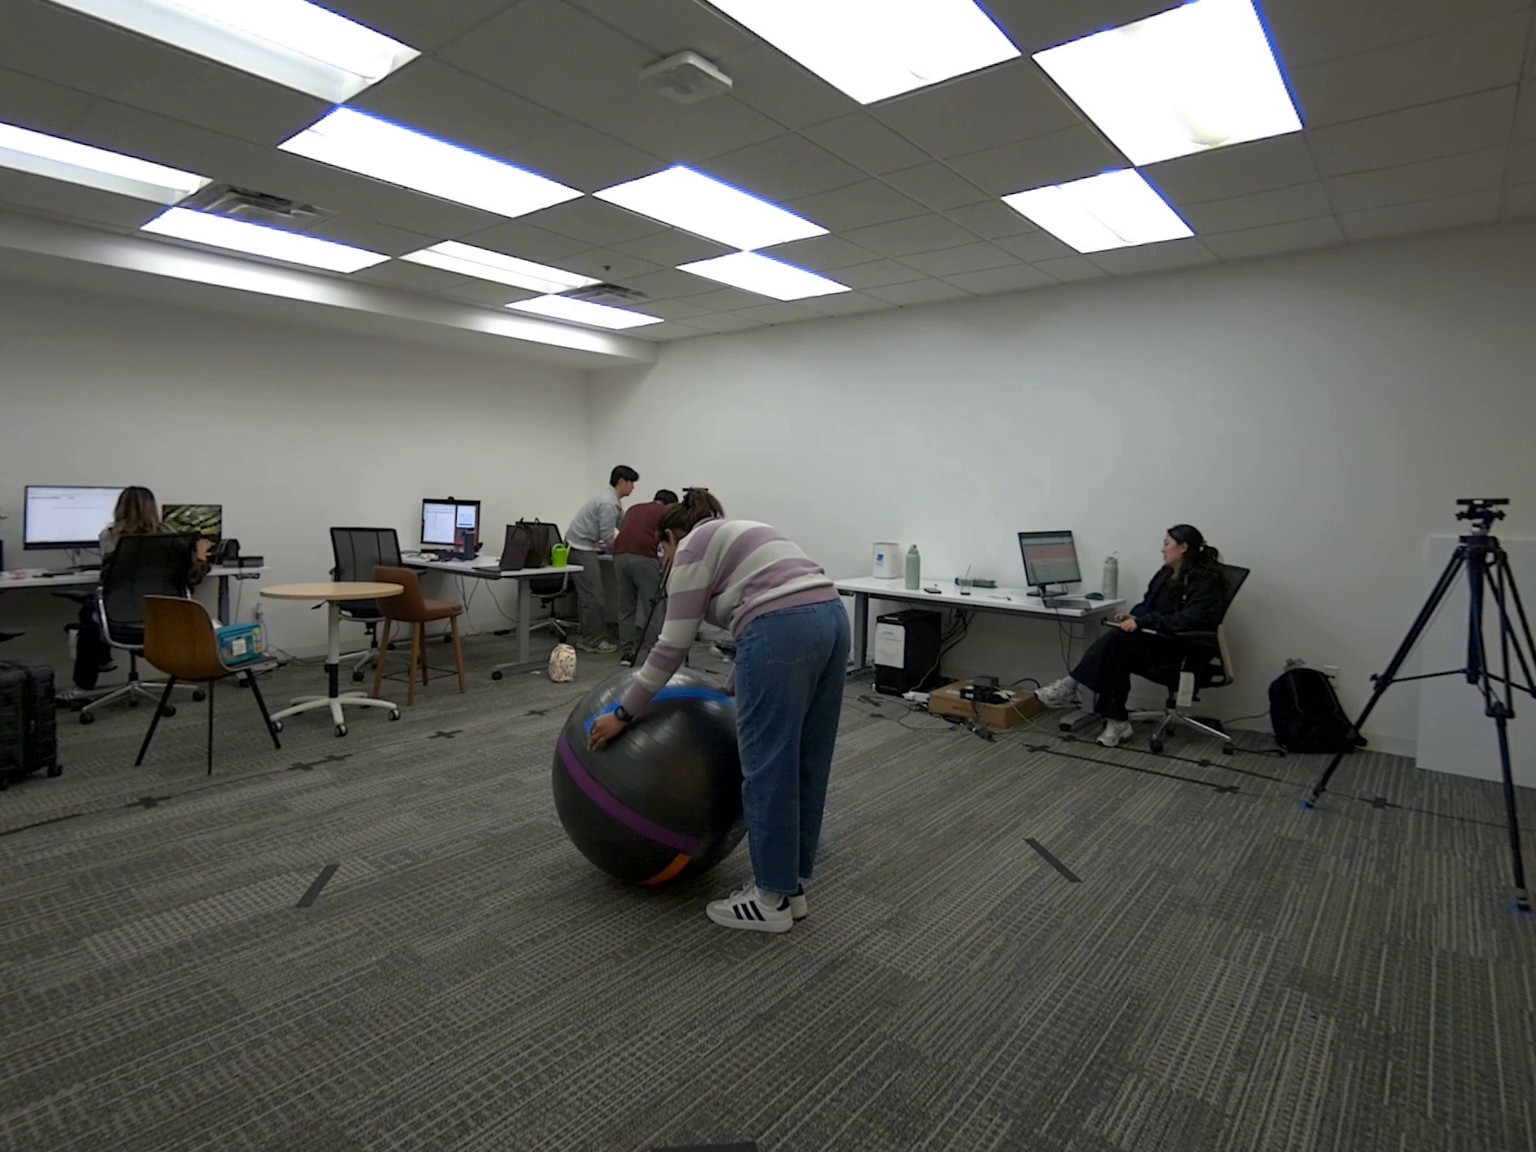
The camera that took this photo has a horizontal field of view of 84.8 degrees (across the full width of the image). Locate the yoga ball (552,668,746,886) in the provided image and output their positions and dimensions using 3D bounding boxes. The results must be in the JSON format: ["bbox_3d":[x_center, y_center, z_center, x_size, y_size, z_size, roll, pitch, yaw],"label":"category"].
[{"bbox_3d":[-0.393,0.711,3.061,0.757,0.755,0.762,1,4,-2],"label":"yoga ball"}]
